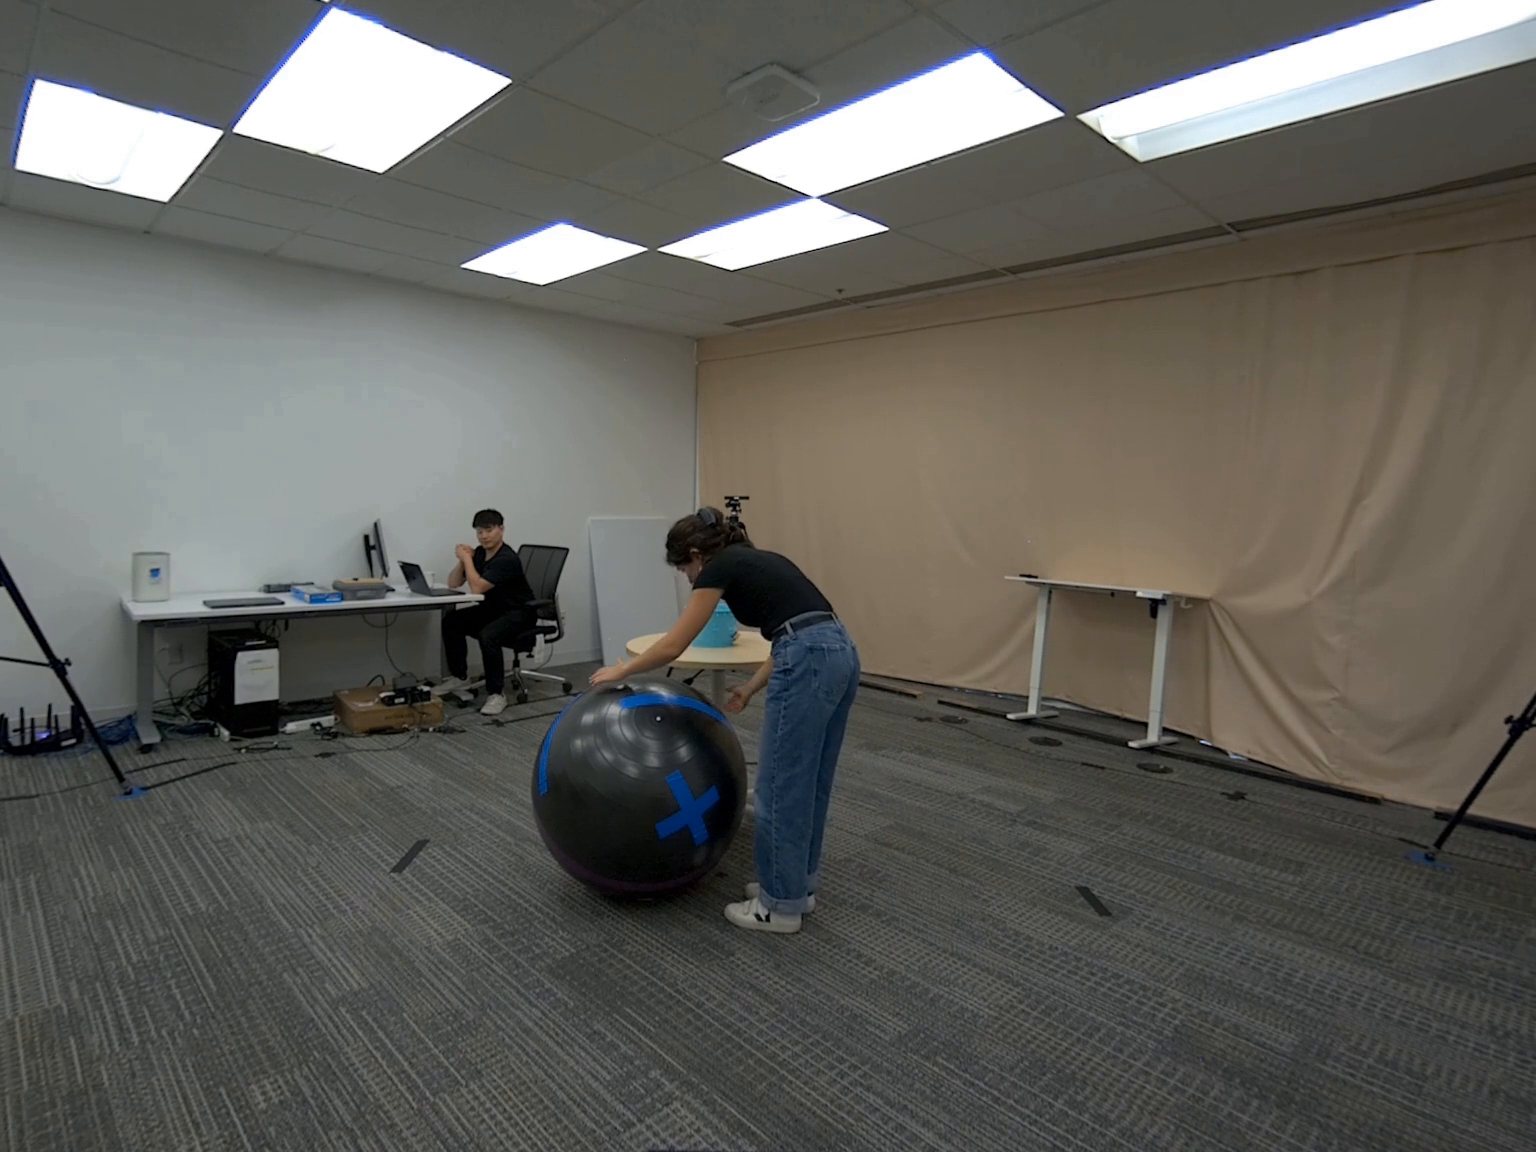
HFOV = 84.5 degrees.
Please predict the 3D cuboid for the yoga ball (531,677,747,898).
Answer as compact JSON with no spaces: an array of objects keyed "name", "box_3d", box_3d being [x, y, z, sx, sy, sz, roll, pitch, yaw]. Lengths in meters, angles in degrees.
[{"name":"yoga ball","box_3d":[-0.456,0.746,2.971,0.757,0.756,0.761,1,4,-1]}]
